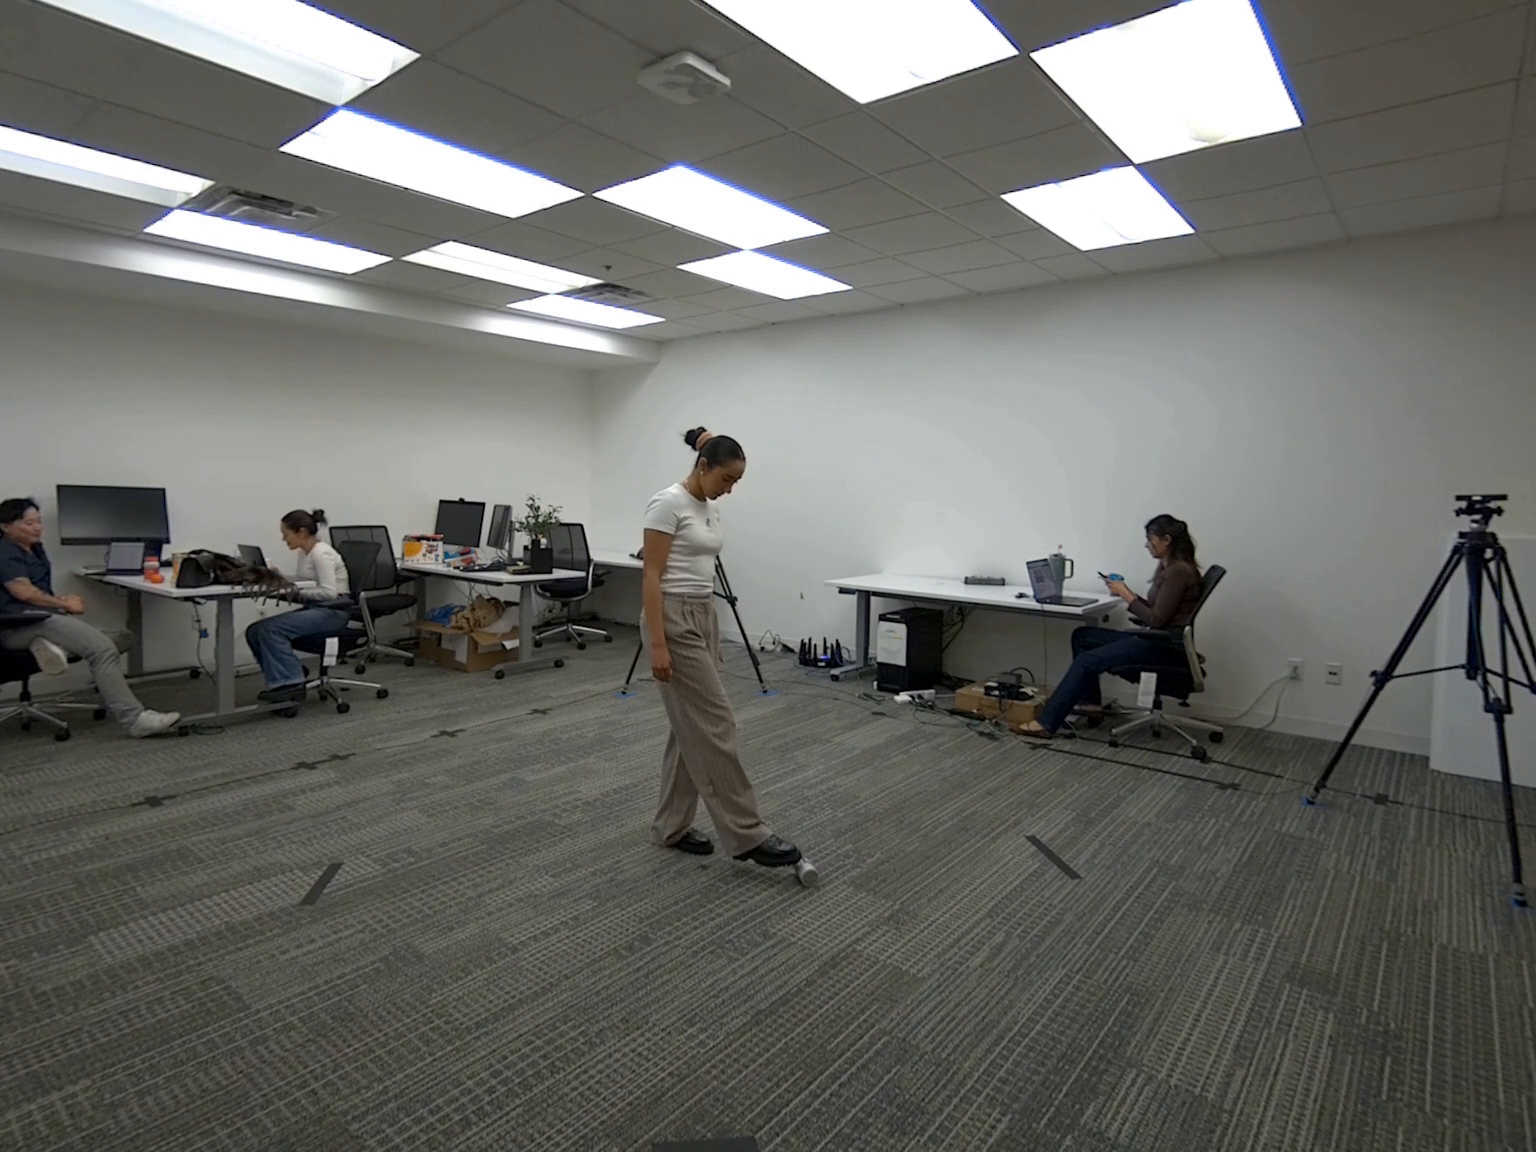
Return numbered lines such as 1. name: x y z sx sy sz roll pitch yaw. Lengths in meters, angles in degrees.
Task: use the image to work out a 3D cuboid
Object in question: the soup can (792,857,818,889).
1. soup can: 0.126 1.045 3.020 0.066 0.067 0.123 0 7 -12
